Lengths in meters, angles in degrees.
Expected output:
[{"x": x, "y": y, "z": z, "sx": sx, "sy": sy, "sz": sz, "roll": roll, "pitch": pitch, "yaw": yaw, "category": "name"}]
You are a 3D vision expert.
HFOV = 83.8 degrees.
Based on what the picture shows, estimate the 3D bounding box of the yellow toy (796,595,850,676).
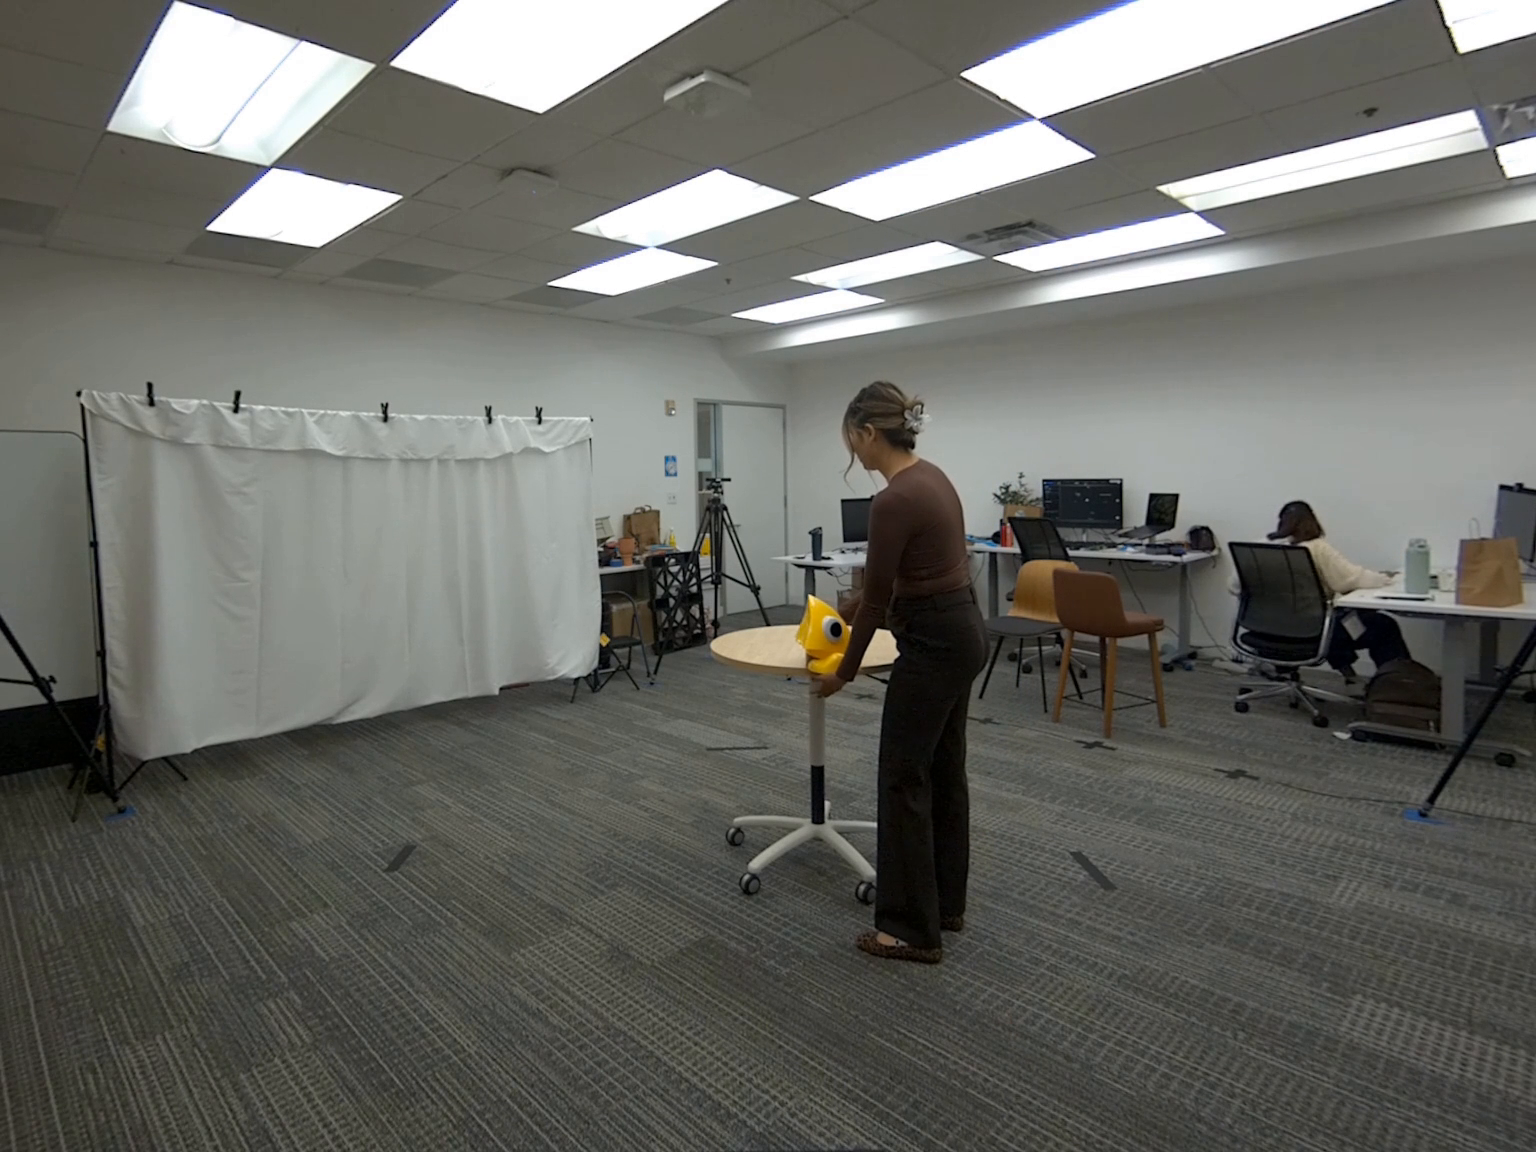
[{"x": 0.197, "y": 0.171, "z": 2.704, "sx": 0.192, "sy": 0.230, "sz": 0.207, "roll": -2, "pitch": 5, "yaw": -6, "category": "yellow toy"}]
